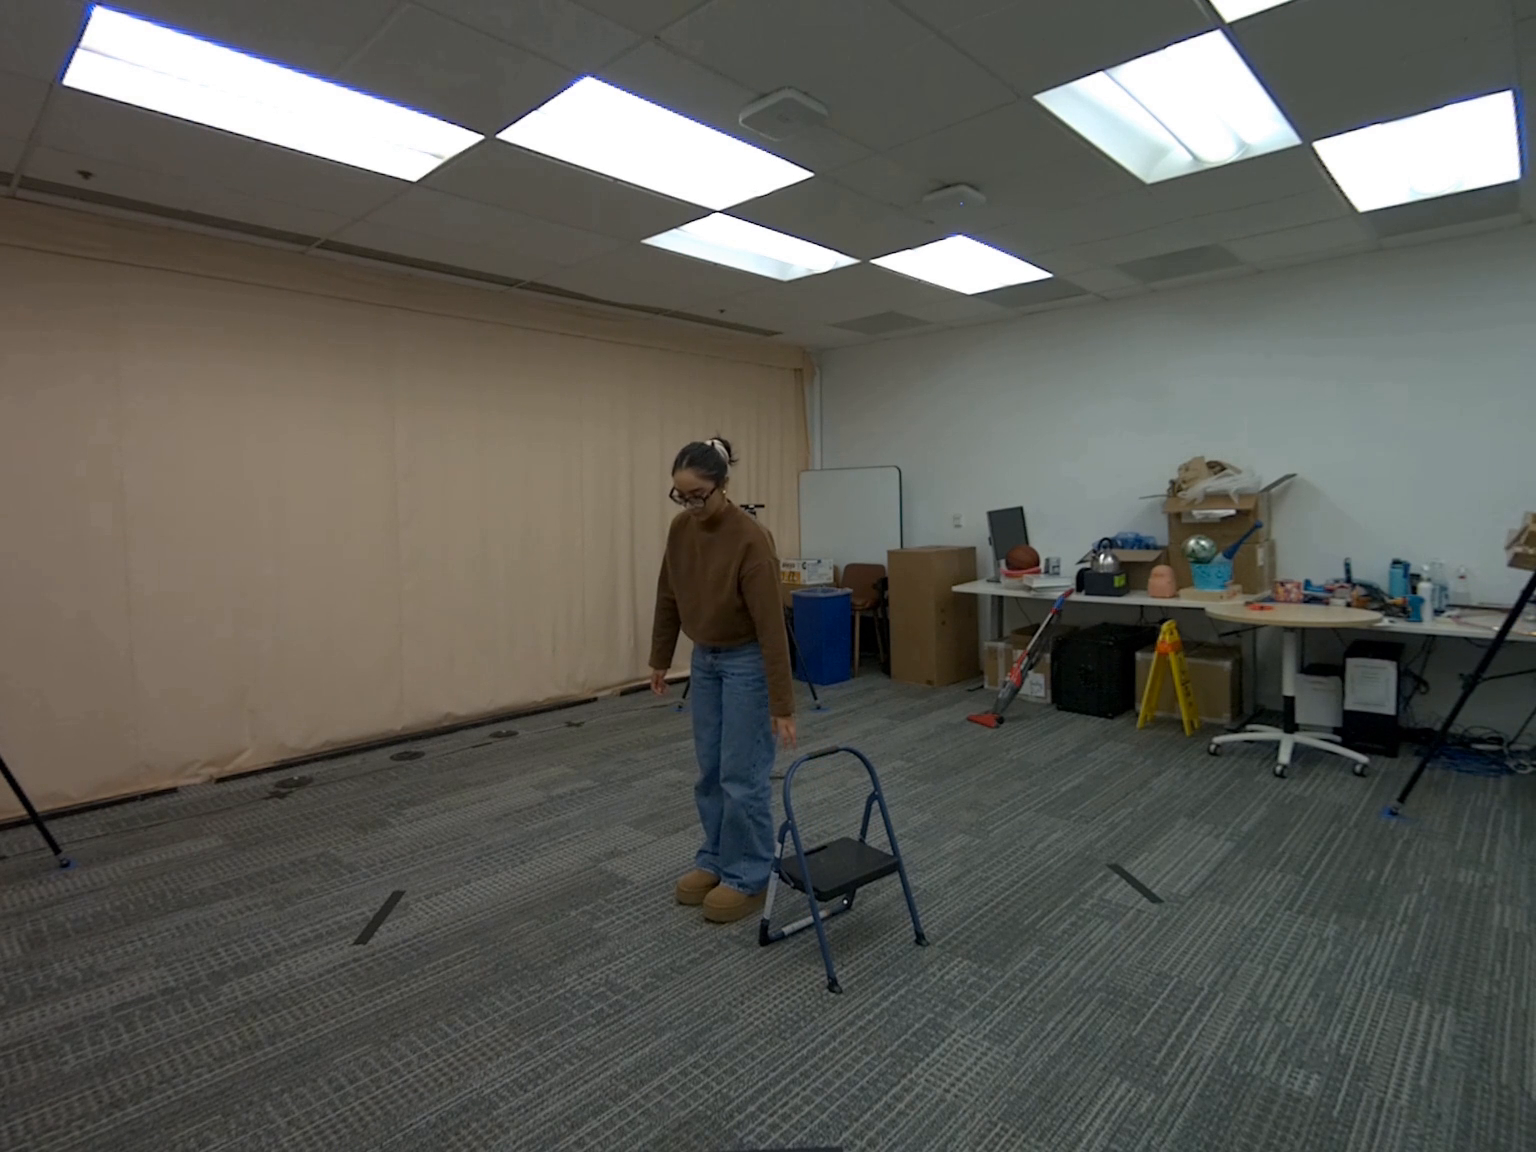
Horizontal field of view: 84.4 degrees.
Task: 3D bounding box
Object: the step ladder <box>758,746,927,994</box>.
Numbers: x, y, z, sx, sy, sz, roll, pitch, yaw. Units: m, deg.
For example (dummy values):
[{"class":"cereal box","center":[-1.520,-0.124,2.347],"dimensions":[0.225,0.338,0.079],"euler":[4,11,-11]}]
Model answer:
[{"class":"step ladder","center":[0.237,0.859,2.641],"dimensions":[0.418,0.605,0.360],"euler":[-4,4,-40]}]
